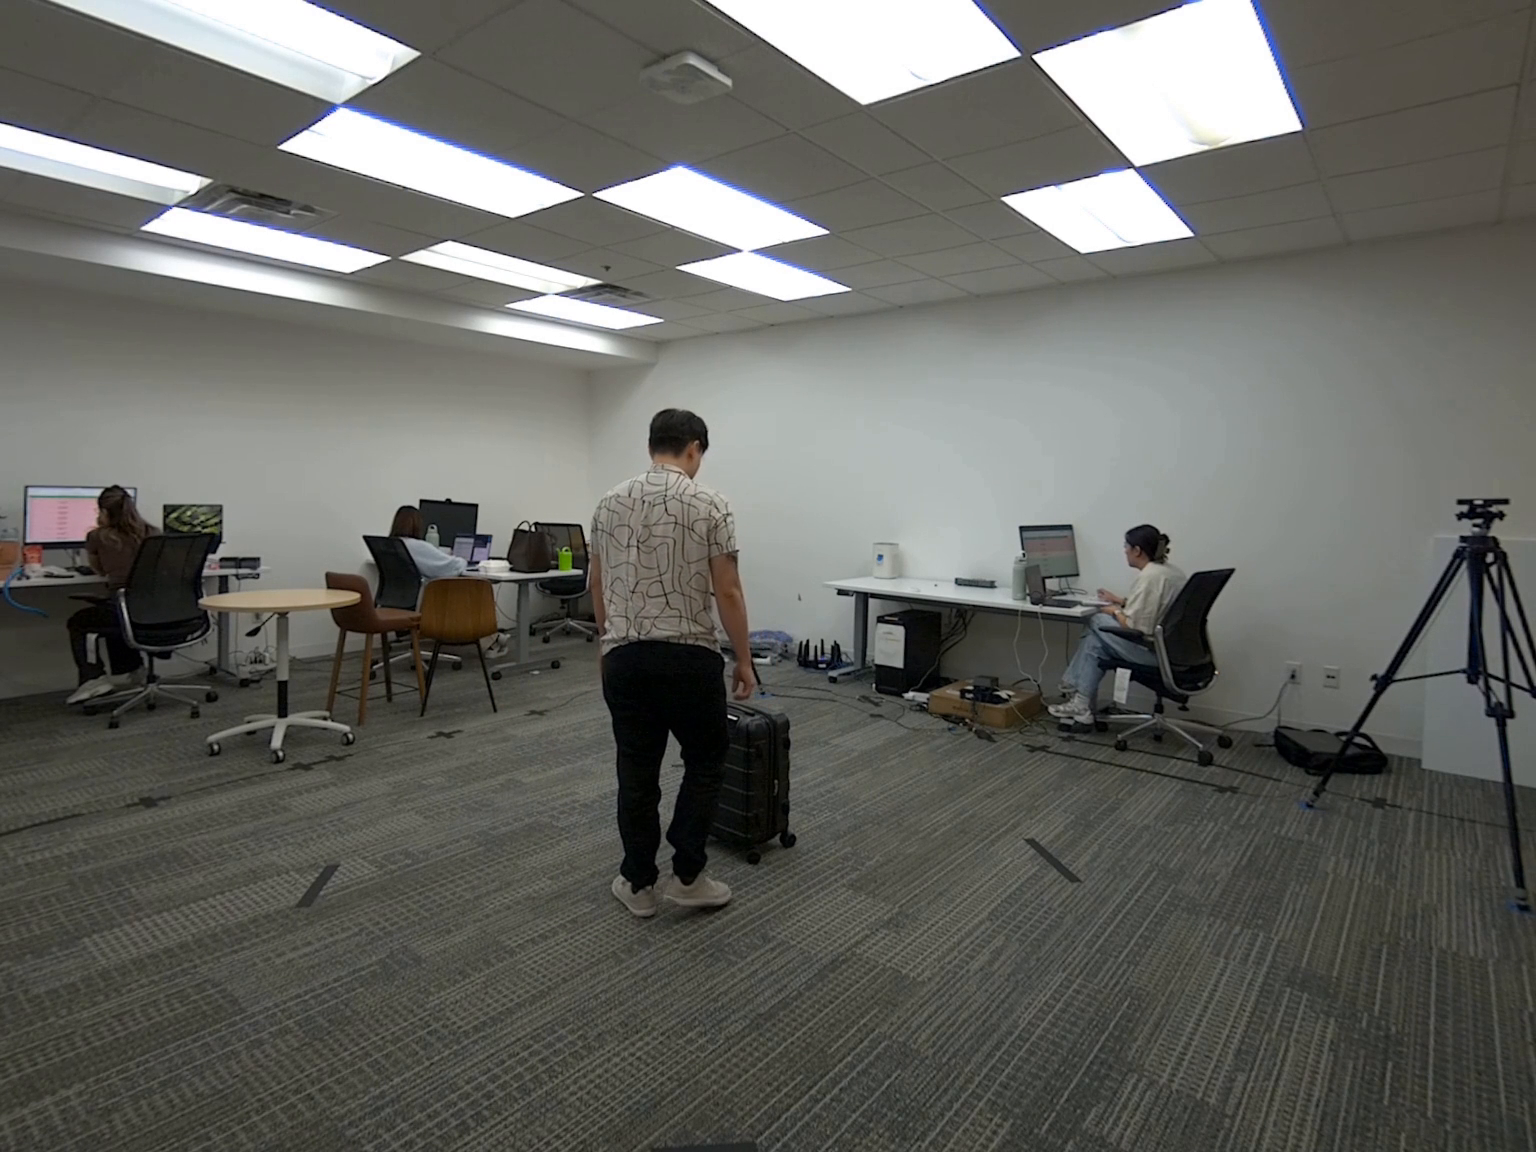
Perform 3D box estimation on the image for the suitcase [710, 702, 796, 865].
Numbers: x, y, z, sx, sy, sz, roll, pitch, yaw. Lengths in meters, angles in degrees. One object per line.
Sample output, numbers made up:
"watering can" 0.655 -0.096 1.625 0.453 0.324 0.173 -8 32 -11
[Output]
"suitcase" -0.117 0.772 3.347 0.388 0.548 0.241 3 3 44
